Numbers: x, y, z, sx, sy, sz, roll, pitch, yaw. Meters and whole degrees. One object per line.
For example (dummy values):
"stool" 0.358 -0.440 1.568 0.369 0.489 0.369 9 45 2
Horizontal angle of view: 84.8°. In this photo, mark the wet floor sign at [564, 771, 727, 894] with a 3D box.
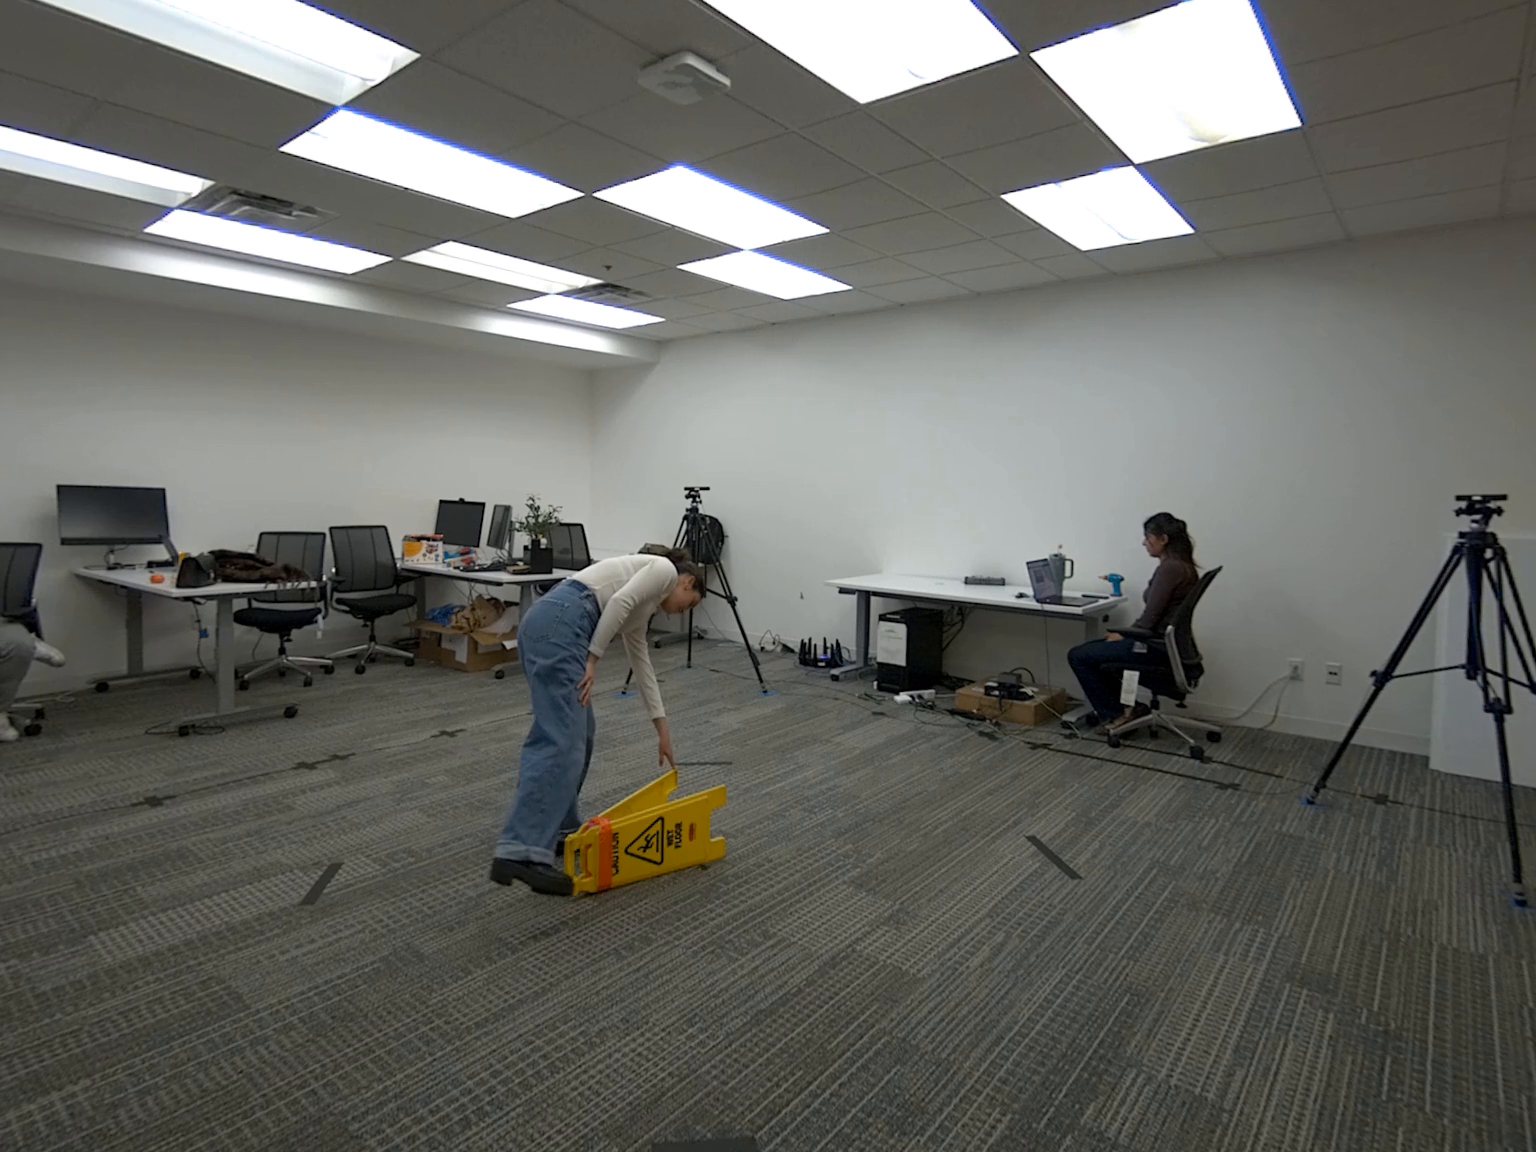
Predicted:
"wet floor sign" -0.472 0.939 3.054 0.299 0.281 0.628 4 8 41
